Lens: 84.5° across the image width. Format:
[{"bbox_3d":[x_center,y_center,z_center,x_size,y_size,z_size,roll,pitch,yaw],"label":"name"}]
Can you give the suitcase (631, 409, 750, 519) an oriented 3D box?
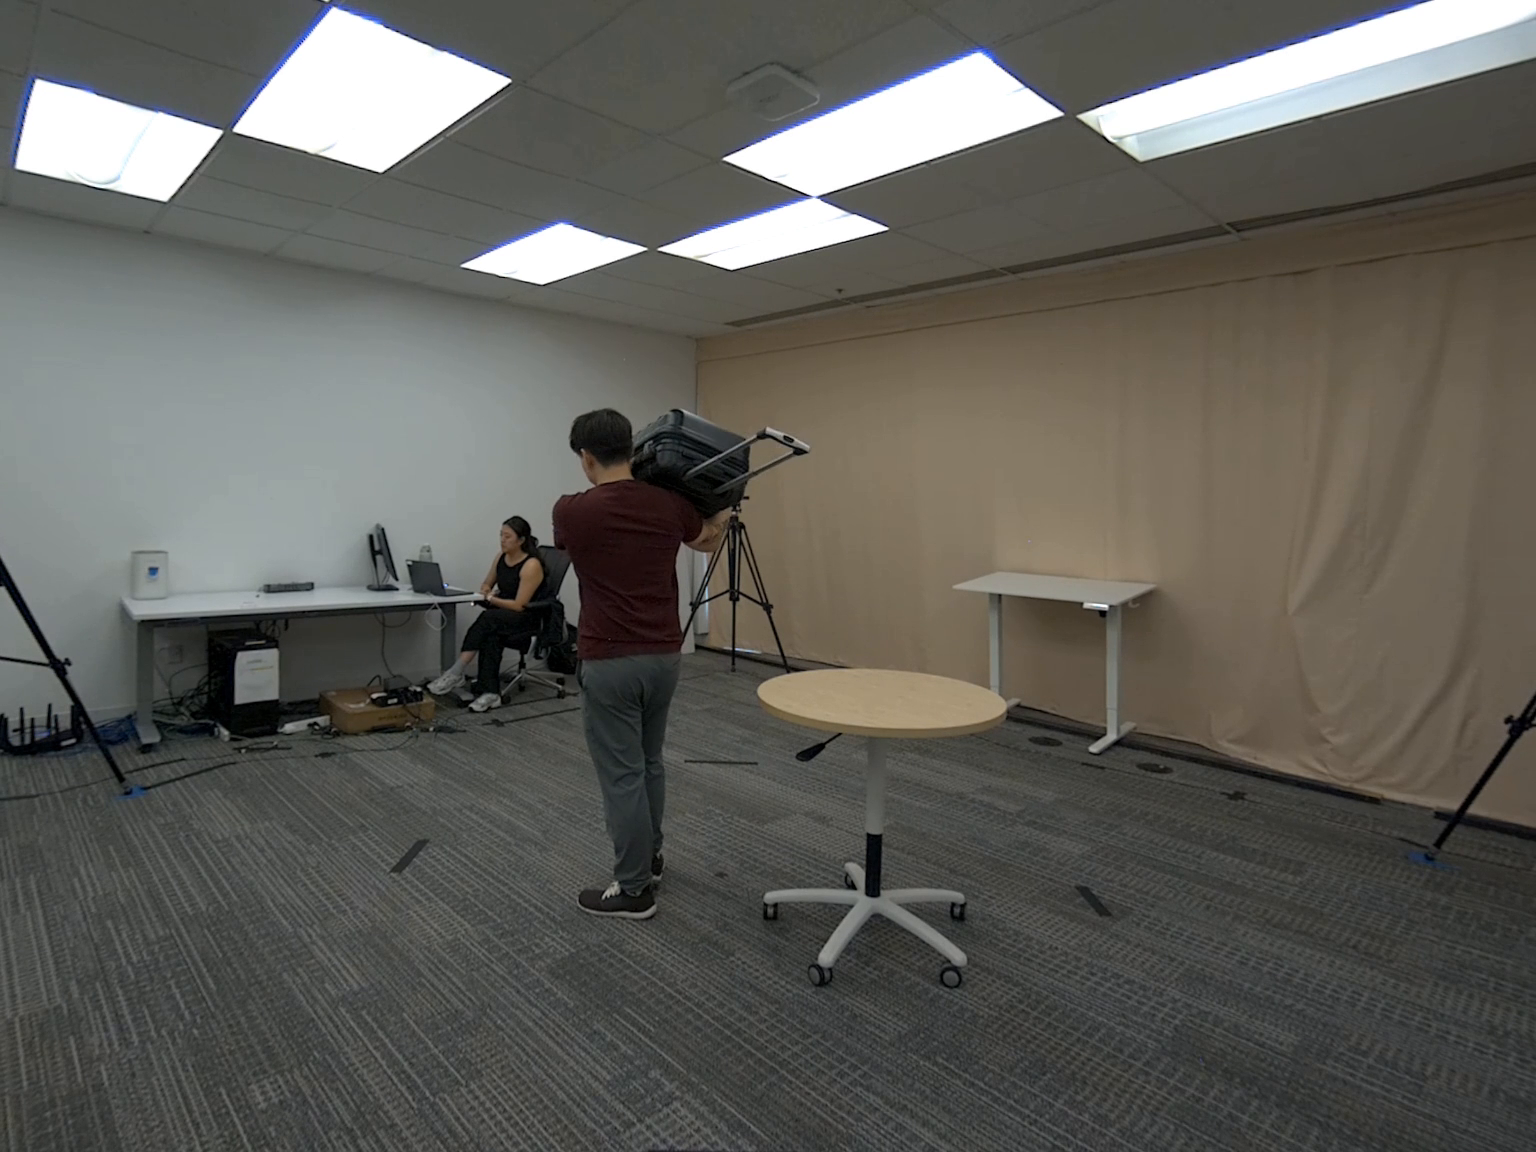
[{"bbox_3d":[-0.224,-0.401,2.848,0.374,0.260,0.991,20,-23,-30],"label":"suitcase"}]
